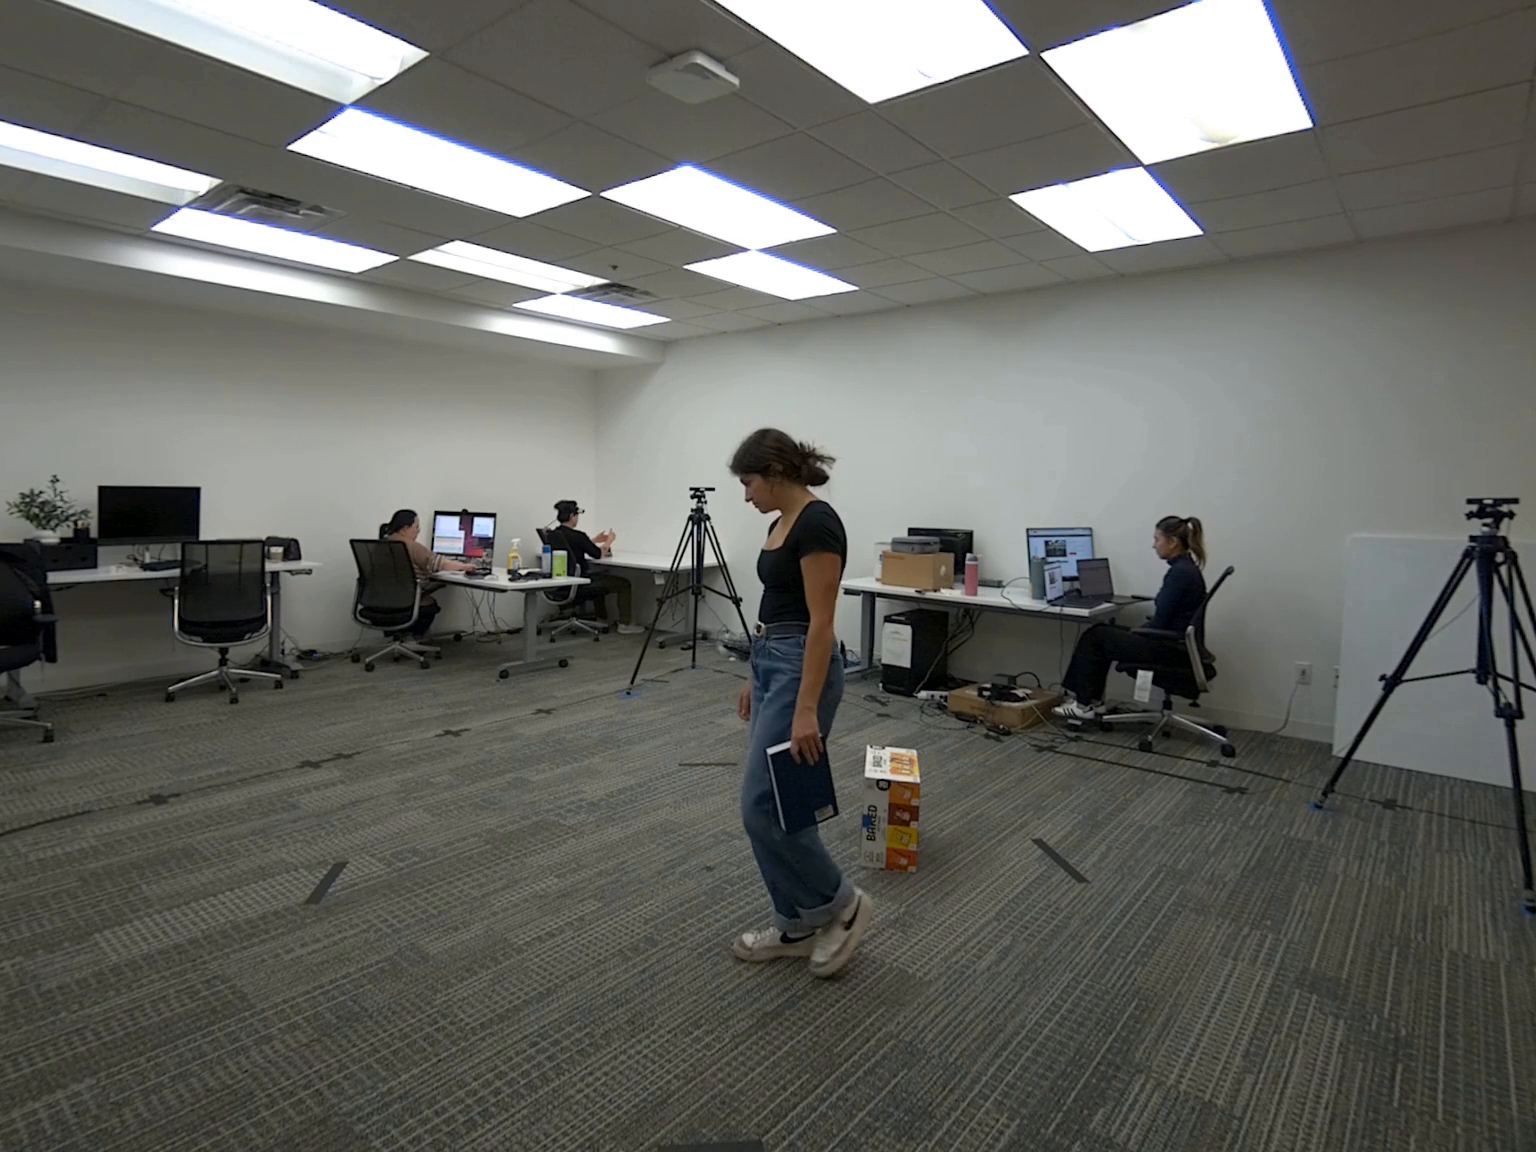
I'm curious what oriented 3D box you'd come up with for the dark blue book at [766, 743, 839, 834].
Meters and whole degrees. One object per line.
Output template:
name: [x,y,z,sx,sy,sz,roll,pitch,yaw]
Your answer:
dark blue book: [0.082,0.553,2.301,0.162,0.242,0.046,-13,13,-13]
